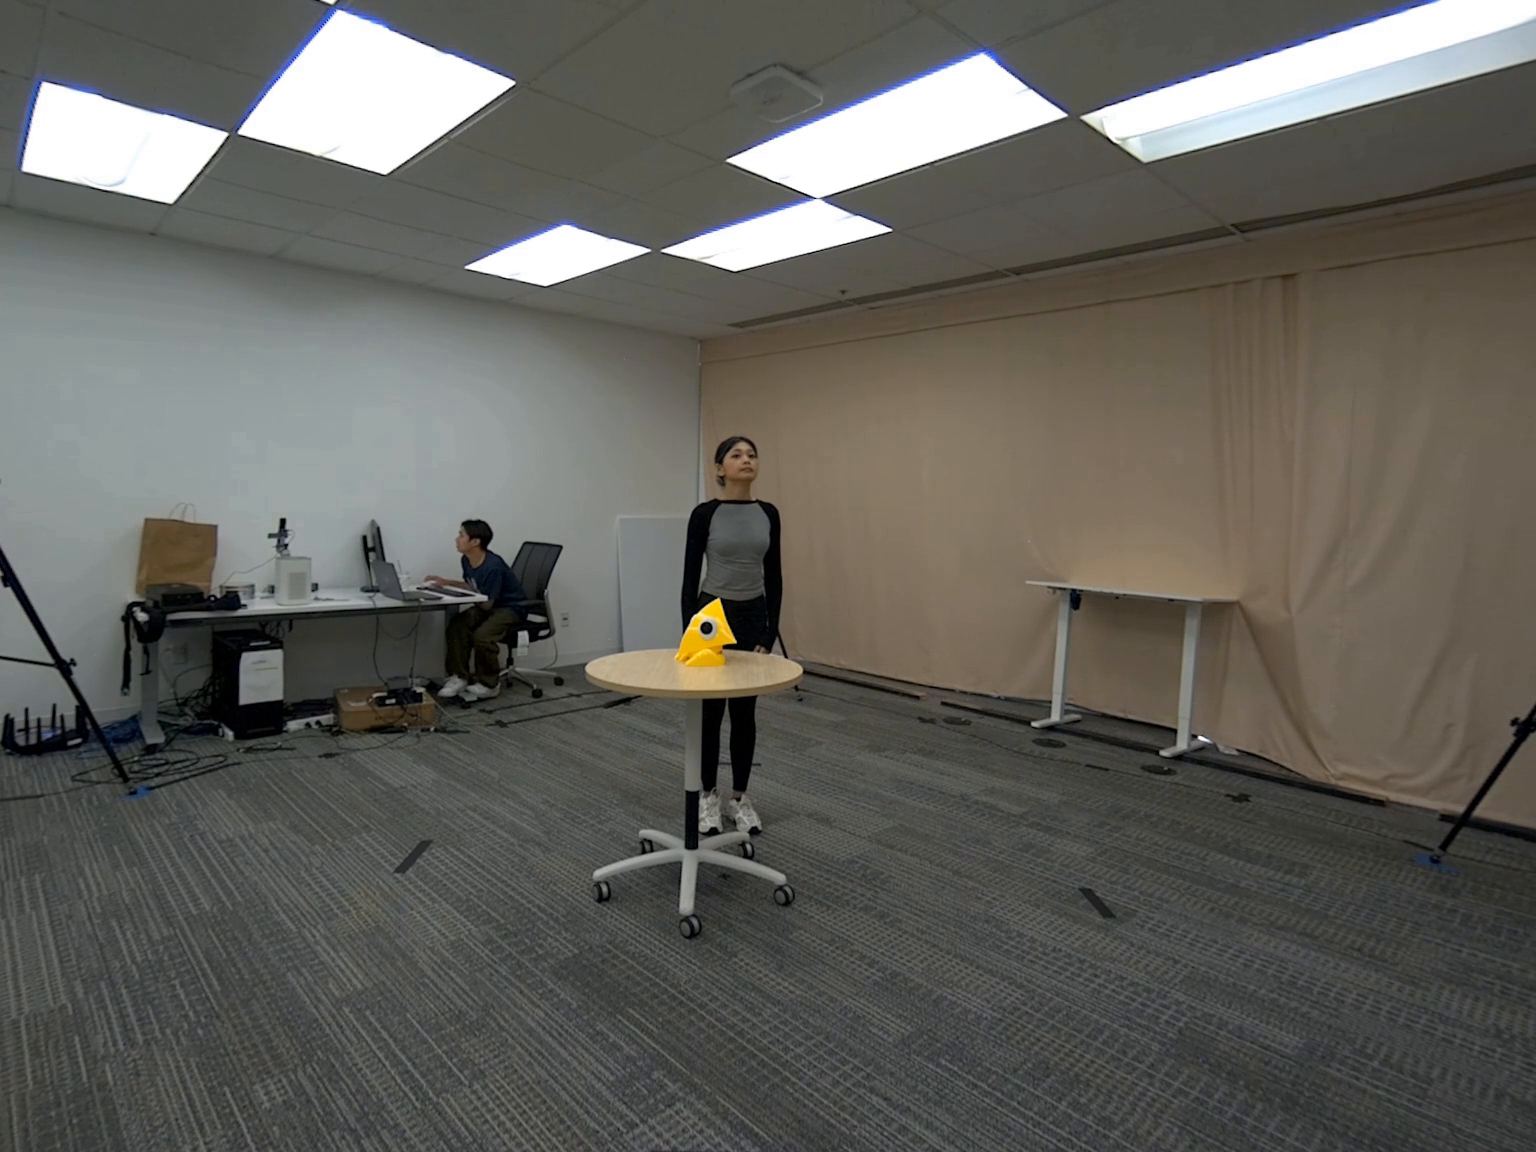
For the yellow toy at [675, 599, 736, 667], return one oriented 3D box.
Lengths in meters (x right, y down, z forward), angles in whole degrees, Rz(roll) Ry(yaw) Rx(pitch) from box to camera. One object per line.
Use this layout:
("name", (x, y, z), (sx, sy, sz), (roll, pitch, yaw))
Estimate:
("yellow toy", (-0.249, 0.200, 3.088), (0.190, 0.230, 0.209), (-1, 3, -24))
